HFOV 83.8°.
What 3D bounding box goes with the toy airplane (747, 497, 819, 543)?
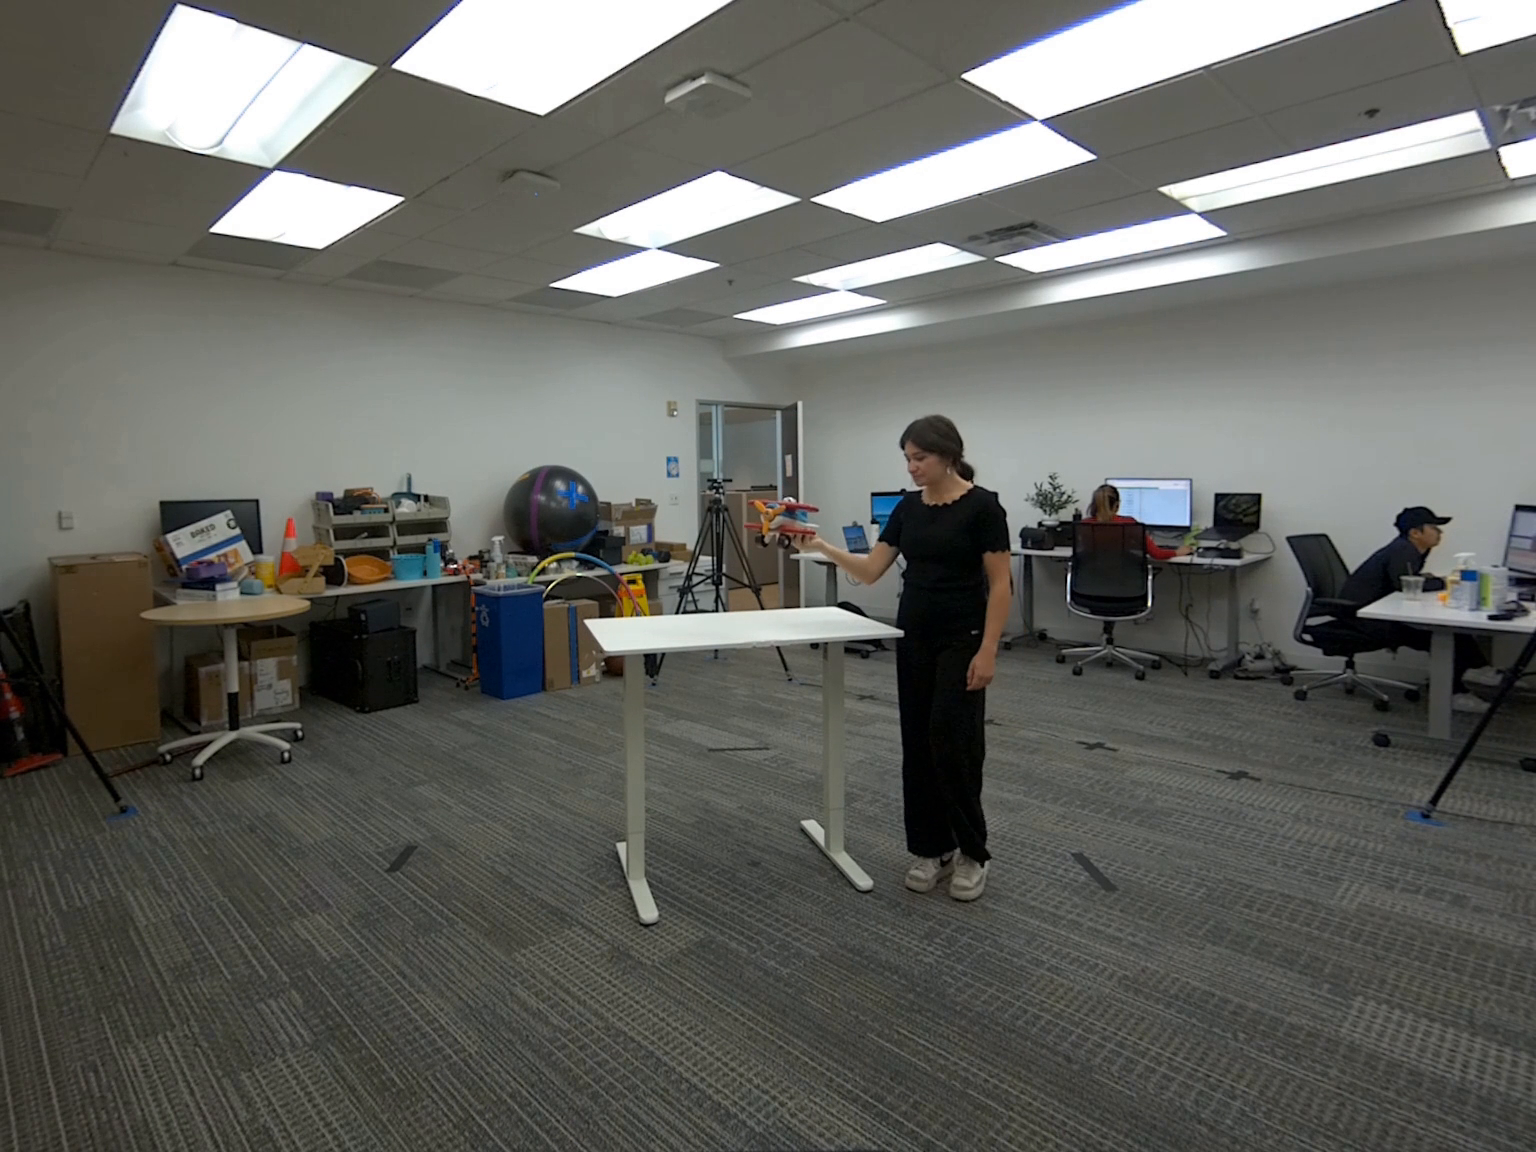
[{"bbox_3d":[0.048,-0.178,2.877,0.252,0.155,0.260,2,11,4],"label":"toy airplane"}]
